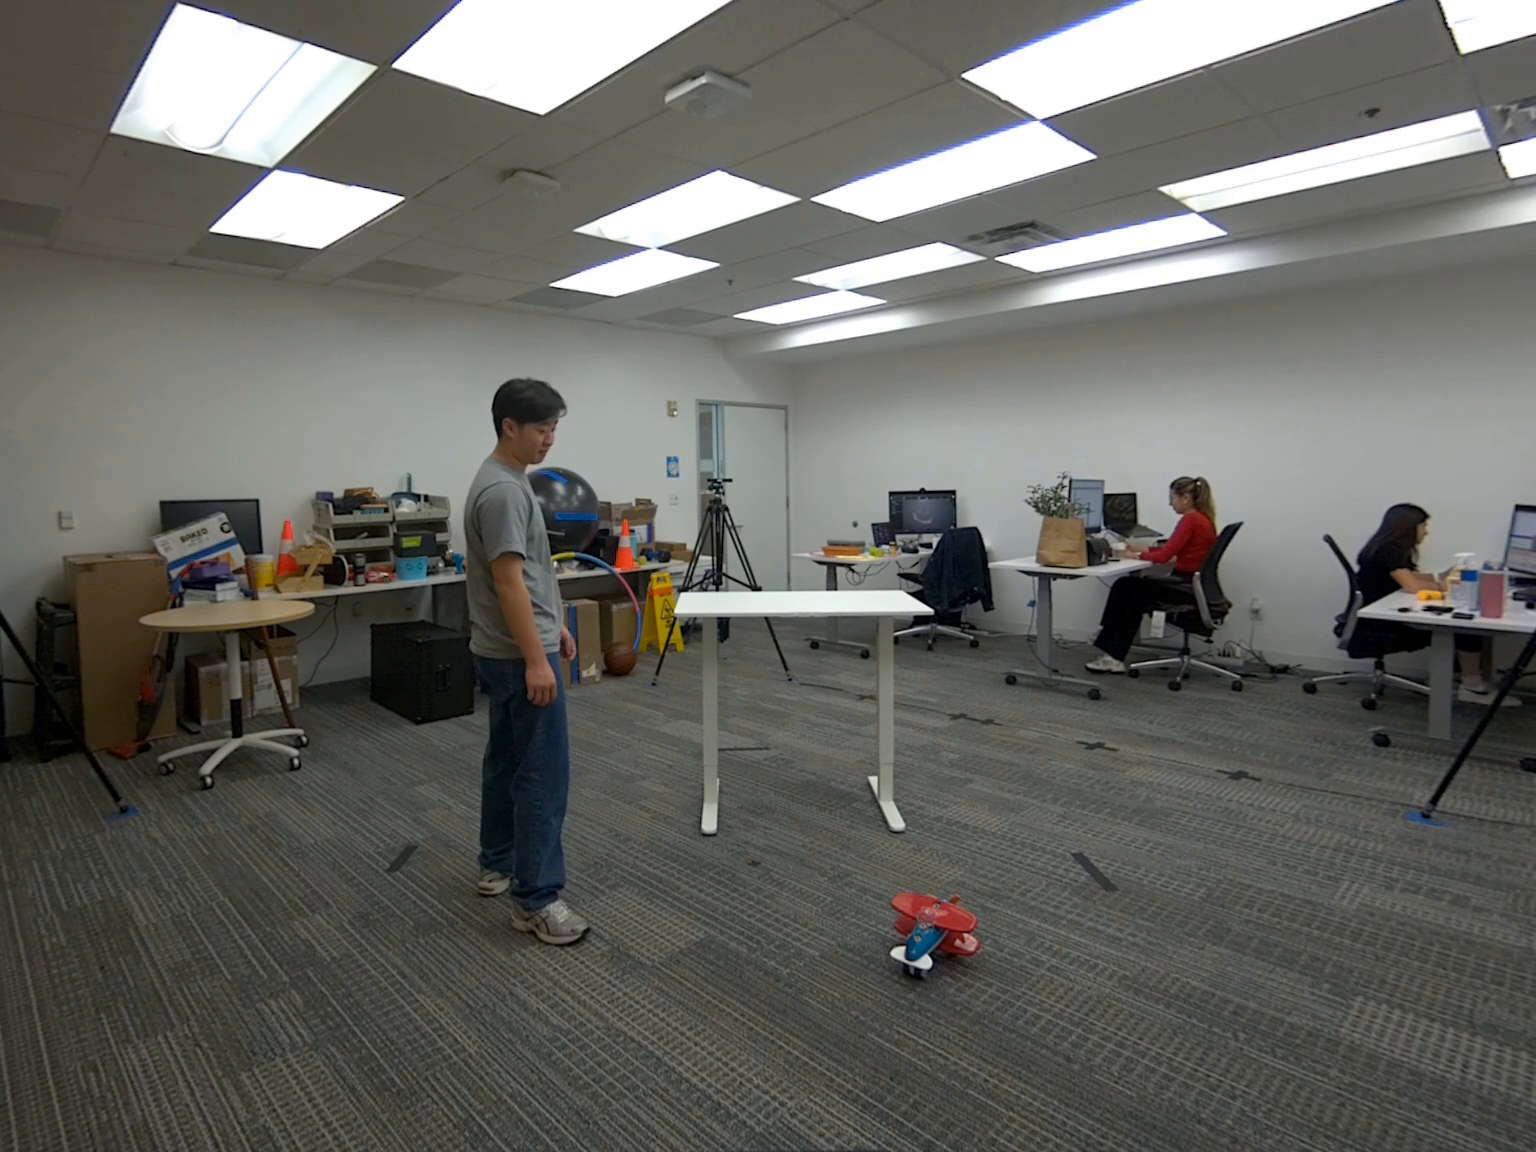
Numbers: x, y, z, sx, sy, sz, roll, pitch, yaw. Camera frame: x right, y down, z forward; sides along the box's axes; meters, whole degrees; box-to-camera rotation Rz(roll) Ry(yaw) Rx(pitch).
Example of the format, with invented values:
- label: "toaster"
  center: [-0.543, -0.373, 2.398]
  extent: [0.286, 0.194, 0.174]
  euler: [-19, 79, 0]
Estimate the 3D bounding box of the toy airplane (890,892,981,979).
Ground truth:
- label: "toy airplane"
  center: [0.481, 1.032, 2.444]
  extent: [0.254, 0.156, 0.257]
  euler: [0, 4, 10]
